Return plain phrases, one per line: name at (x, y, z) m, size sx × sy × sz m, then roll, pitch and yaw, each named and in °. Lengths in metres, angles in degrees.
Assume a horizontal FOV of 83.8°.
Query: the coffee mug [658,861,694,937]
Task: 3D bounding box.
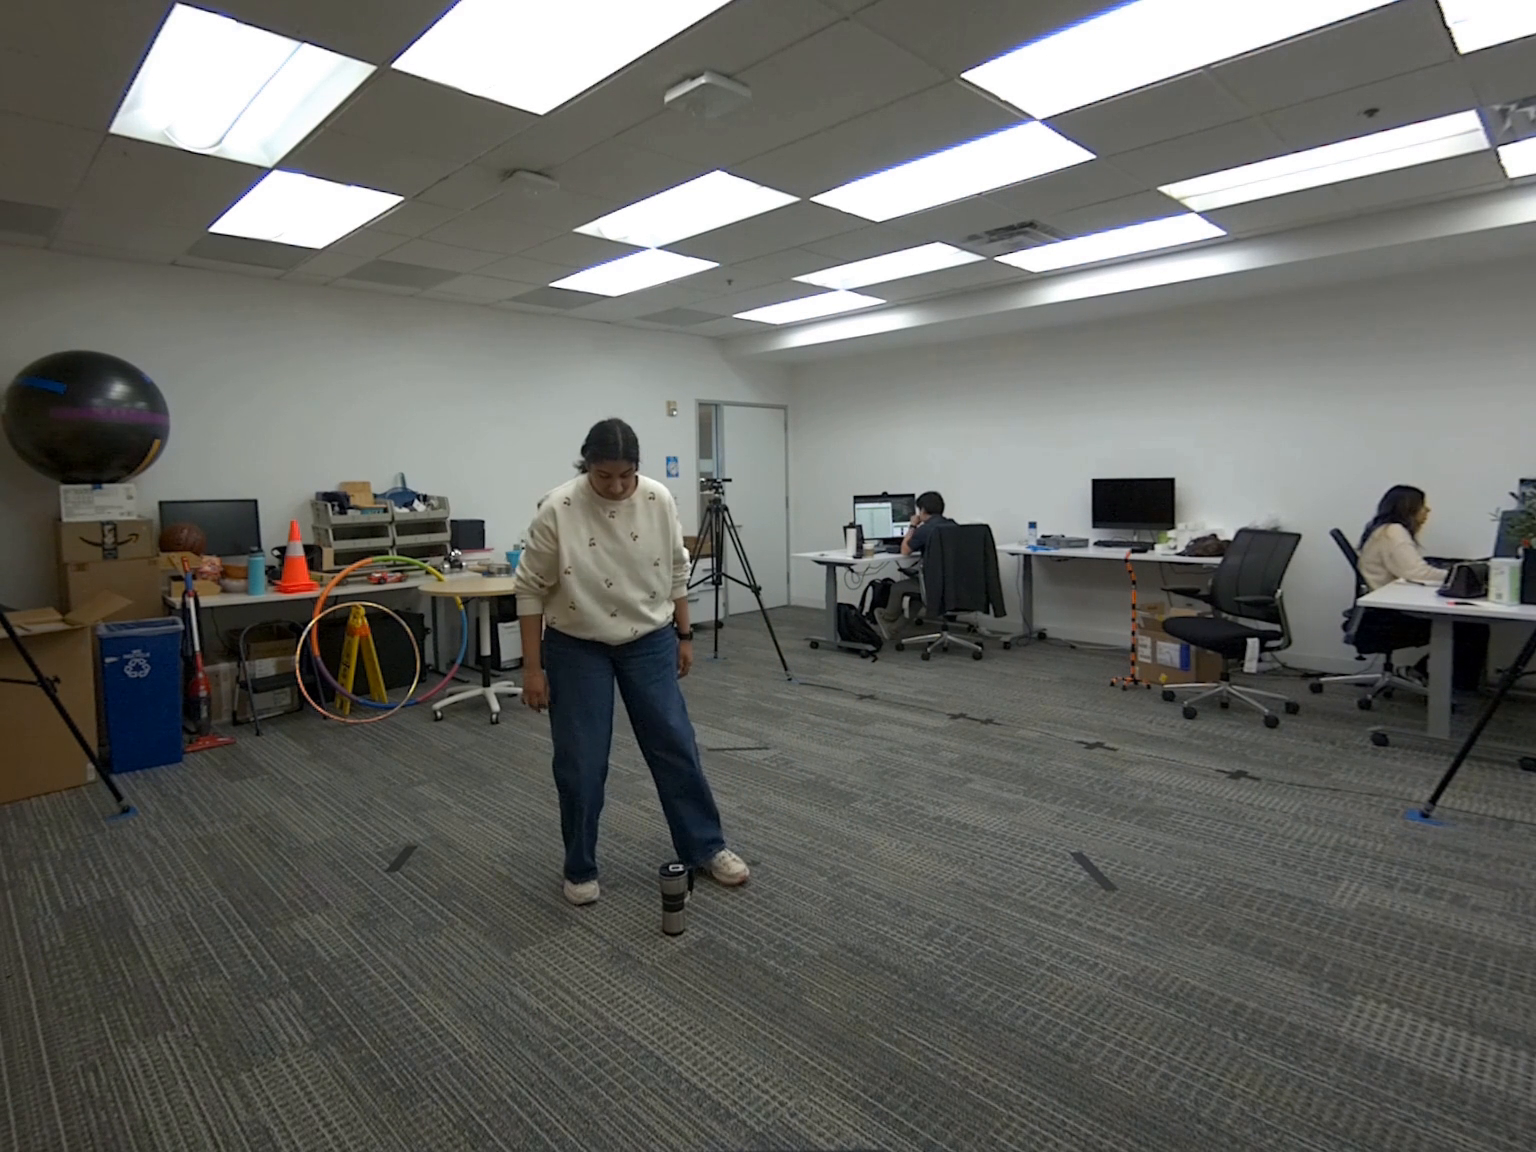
coffee mug at (-0.272, 1.005, 2.655) m, size 0.119 × 0.202 × 0.090 m, roll -7°, pitch 3°, yaw -29°
